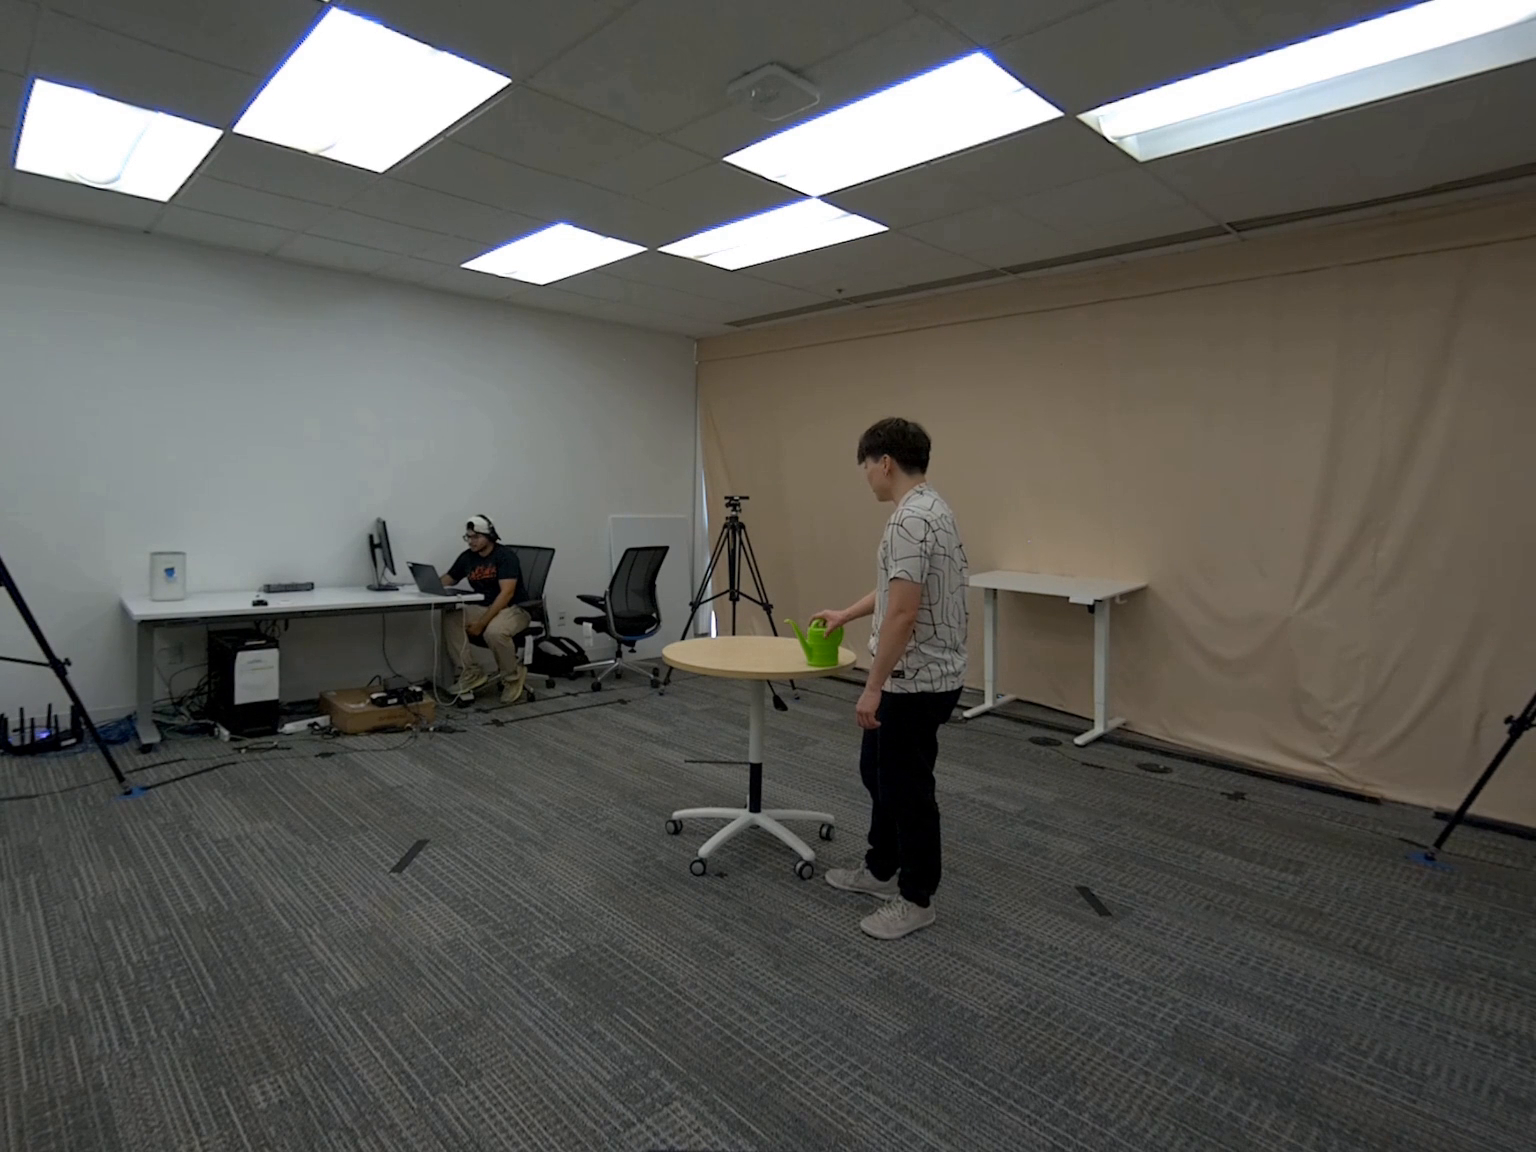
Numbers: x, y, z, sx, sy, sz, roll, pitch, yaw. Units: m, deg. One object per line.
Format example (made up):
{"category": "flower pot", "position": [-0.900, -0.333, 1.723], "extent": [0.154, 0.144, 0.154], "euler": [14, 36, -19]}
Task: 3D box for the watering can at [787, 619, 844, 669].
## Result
{"category": "watering can", "position": [0.157, 0.243, 3.101], "extent": [0.273, 0.177, 0.100], "euler": [1, 0, -26]}
